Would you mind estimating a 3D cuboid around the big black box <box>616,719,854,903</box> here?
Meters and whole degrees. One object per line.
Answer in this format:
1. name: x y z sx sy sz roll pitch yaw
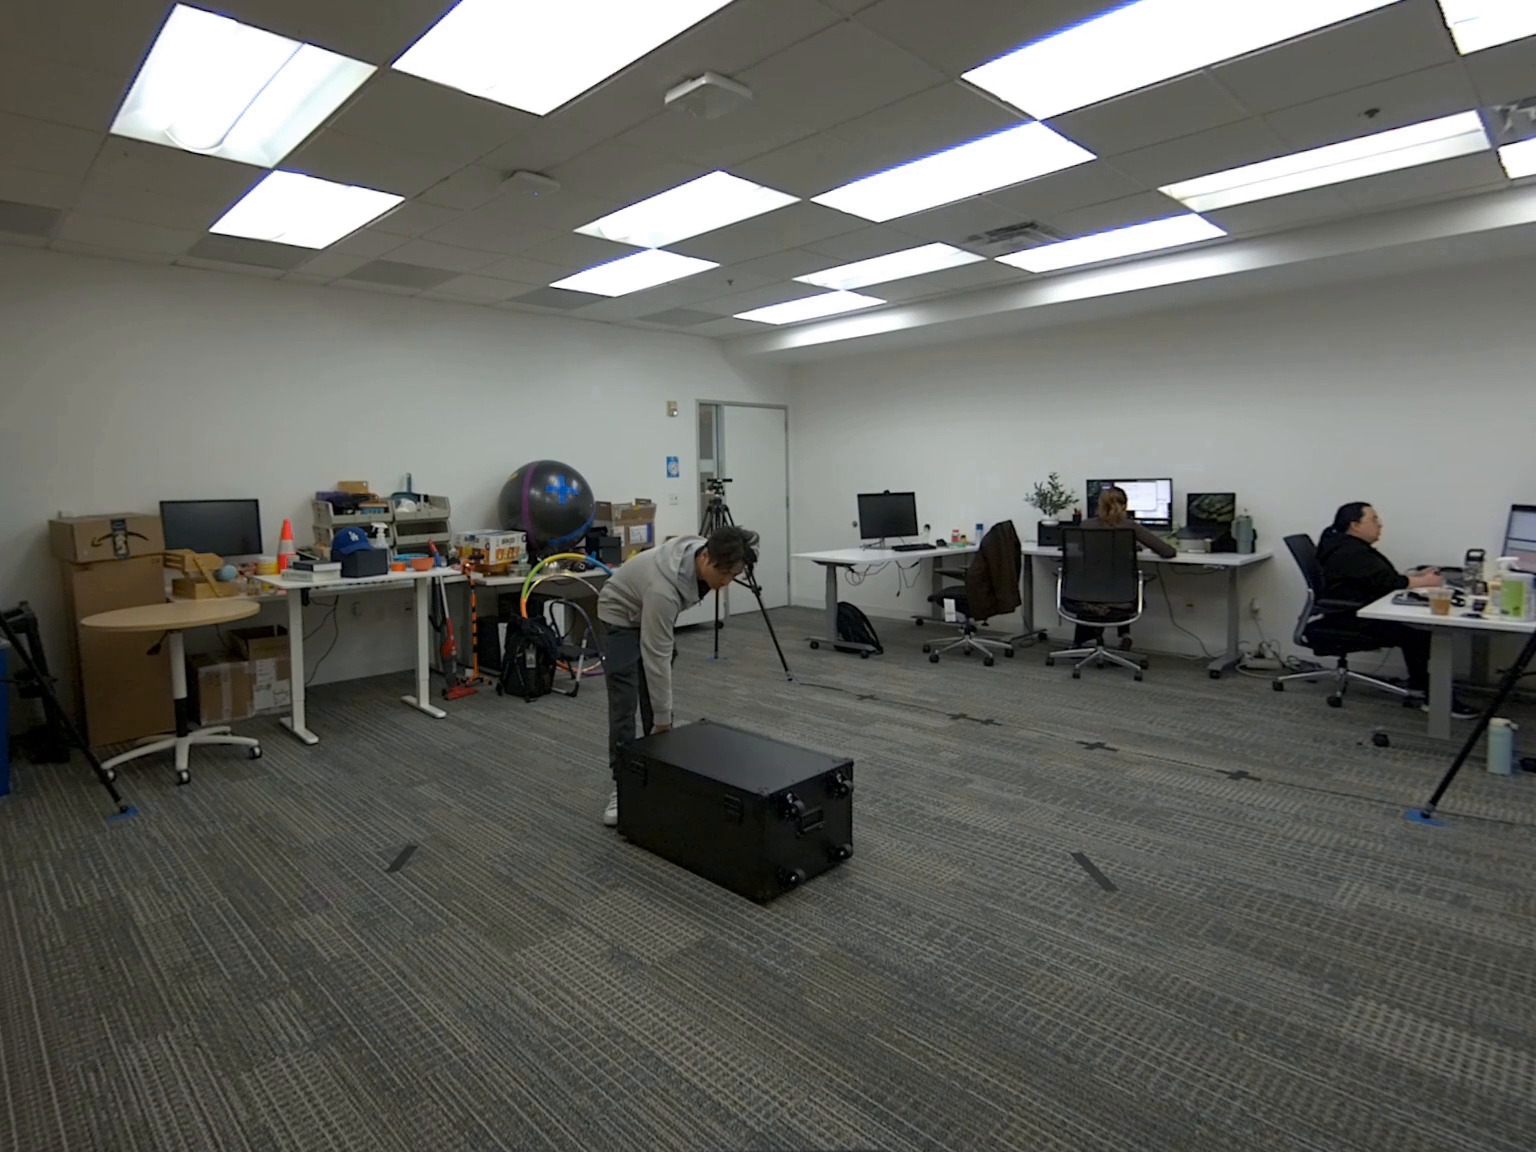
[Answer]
1. big black box: -0.117 0.848 3.180 0.888 0.395 0.508 4 7 43
